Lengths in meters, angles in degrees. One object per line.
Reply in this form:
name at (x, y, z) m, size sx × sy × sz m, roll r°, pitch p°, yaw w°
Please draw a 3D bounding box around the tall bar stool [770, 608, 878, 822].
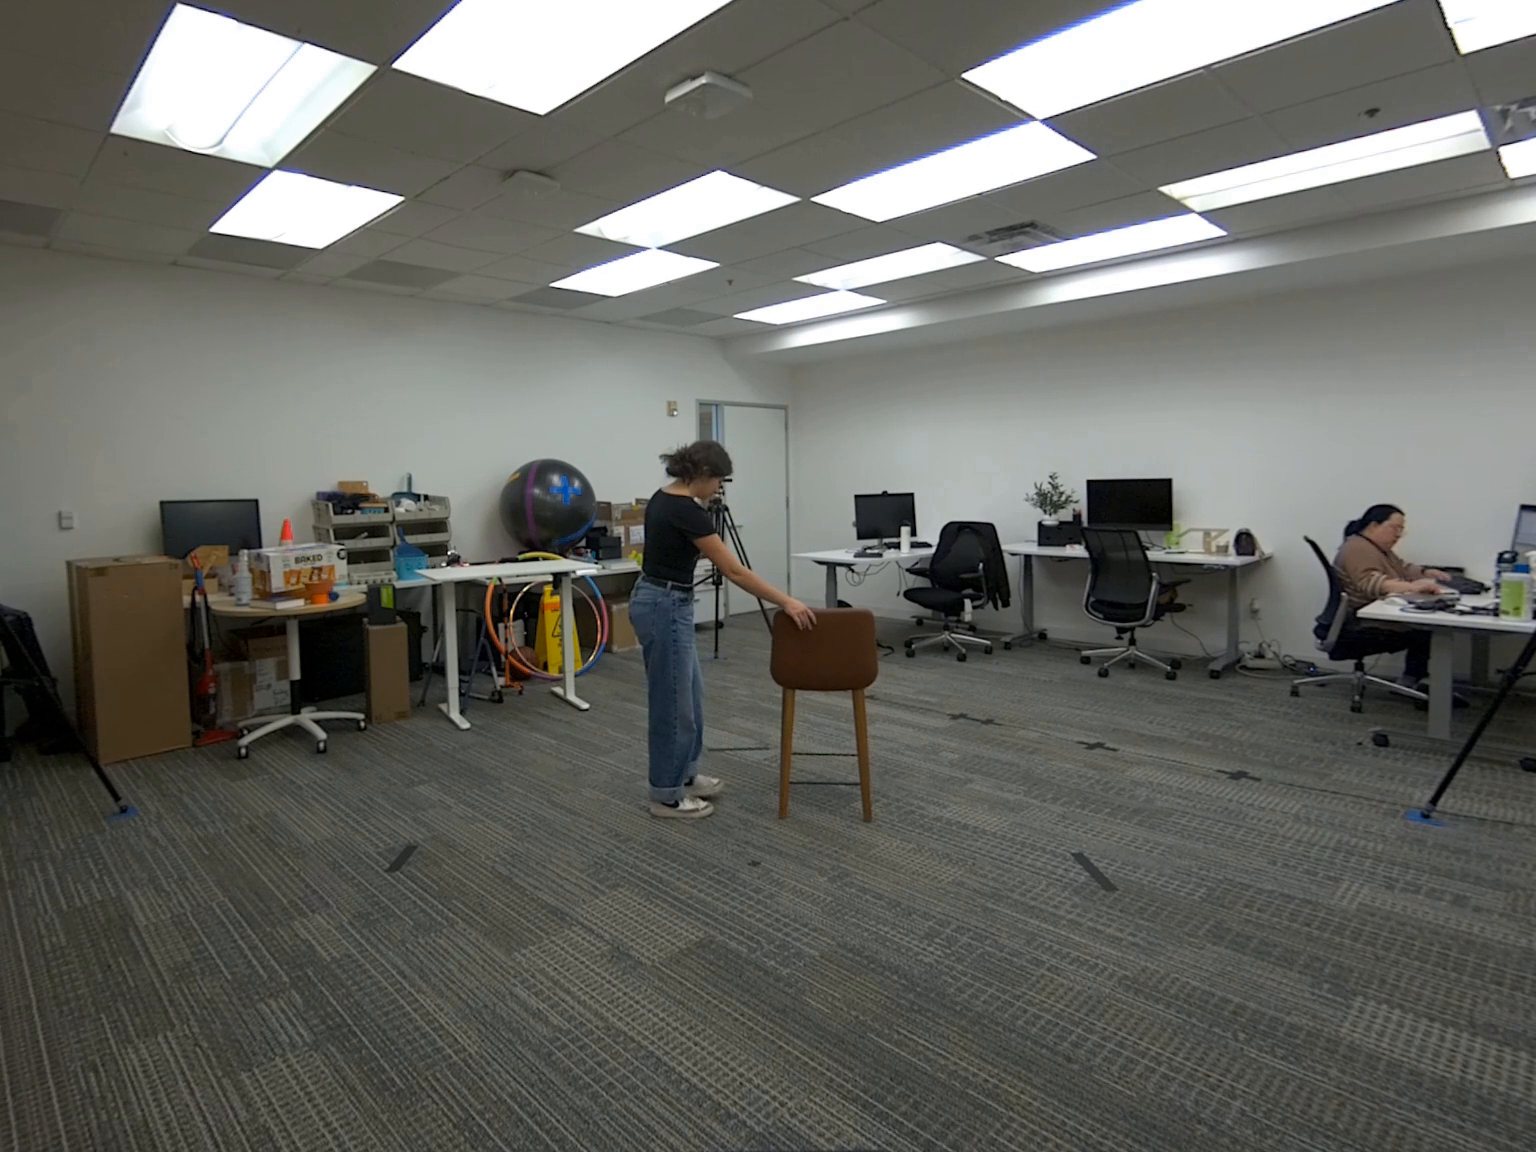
tall bar stool at (0.238, 0.539, 3.674) m, size 0.459 × 0.885 × 0.467 m, roll 0°, pitch 6°, yaw 6°
